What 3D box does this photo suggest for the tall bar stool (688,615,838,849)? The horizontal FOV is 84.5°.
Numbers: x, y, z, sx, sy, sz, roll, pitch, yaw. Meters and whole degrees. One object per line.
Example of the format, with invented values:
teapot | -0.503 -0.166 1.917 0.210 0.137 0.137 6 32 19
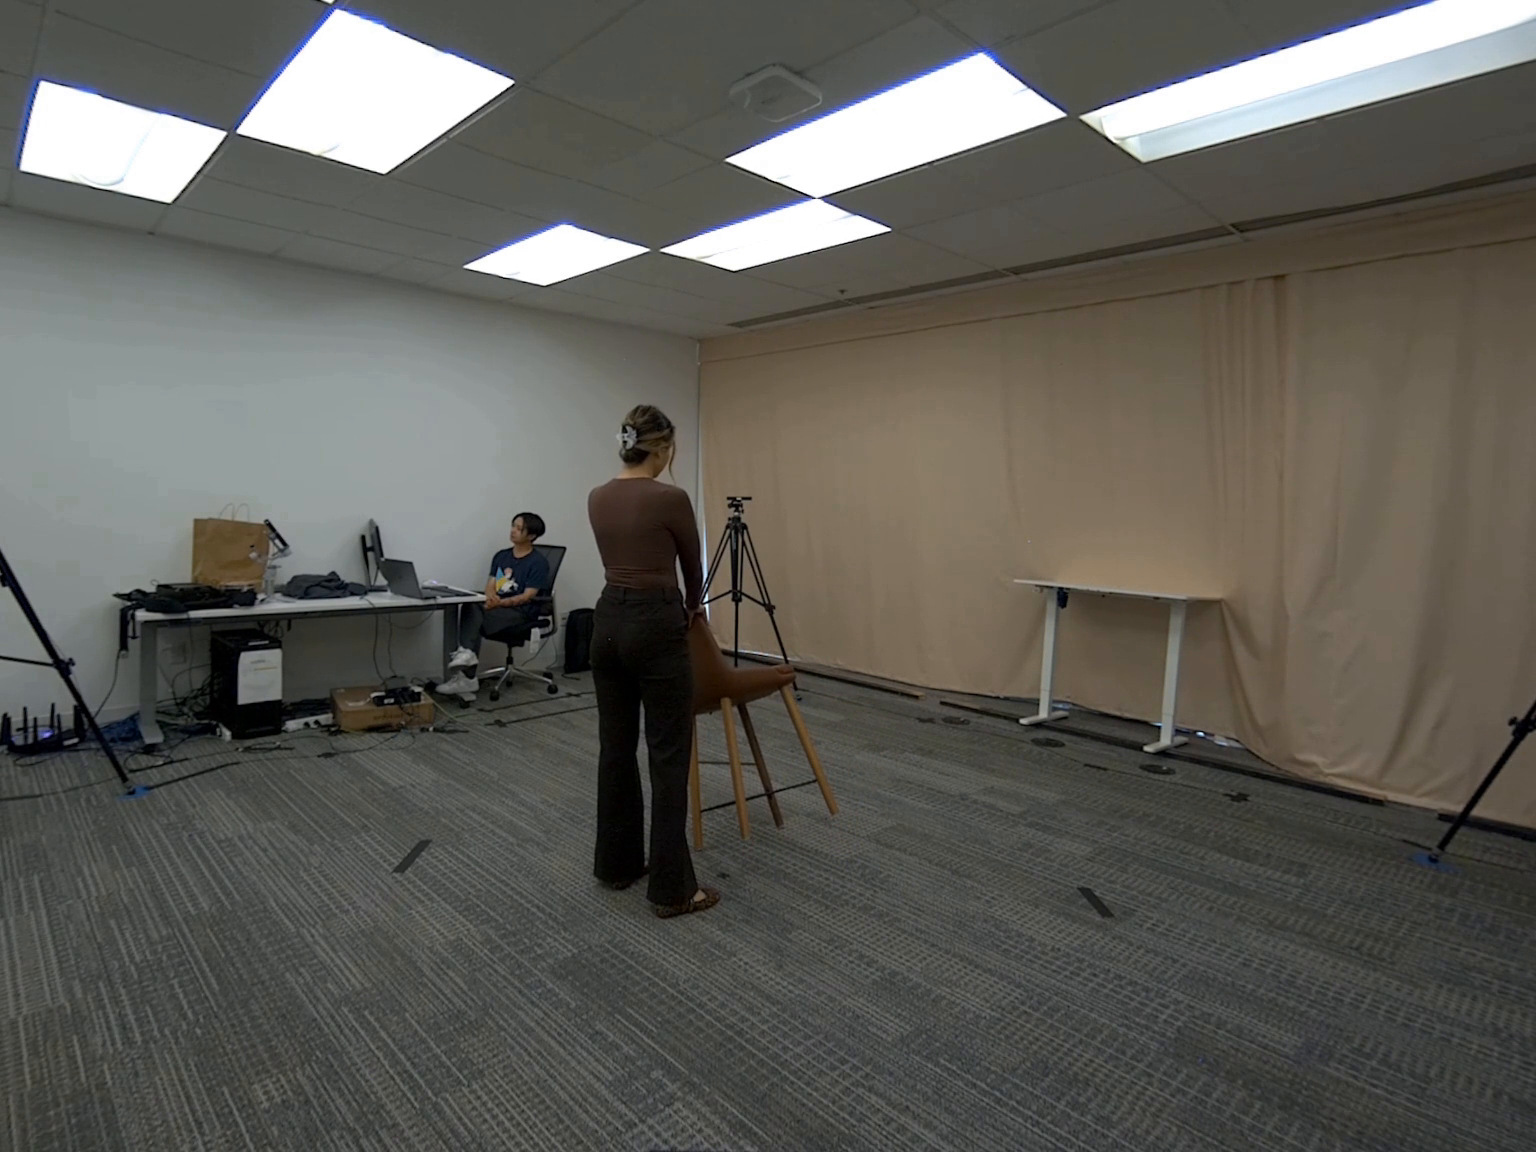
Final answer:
tall bar stool | -0.132 0.603 3.442 0.458 0.903 0.459 -5 -19 -37
